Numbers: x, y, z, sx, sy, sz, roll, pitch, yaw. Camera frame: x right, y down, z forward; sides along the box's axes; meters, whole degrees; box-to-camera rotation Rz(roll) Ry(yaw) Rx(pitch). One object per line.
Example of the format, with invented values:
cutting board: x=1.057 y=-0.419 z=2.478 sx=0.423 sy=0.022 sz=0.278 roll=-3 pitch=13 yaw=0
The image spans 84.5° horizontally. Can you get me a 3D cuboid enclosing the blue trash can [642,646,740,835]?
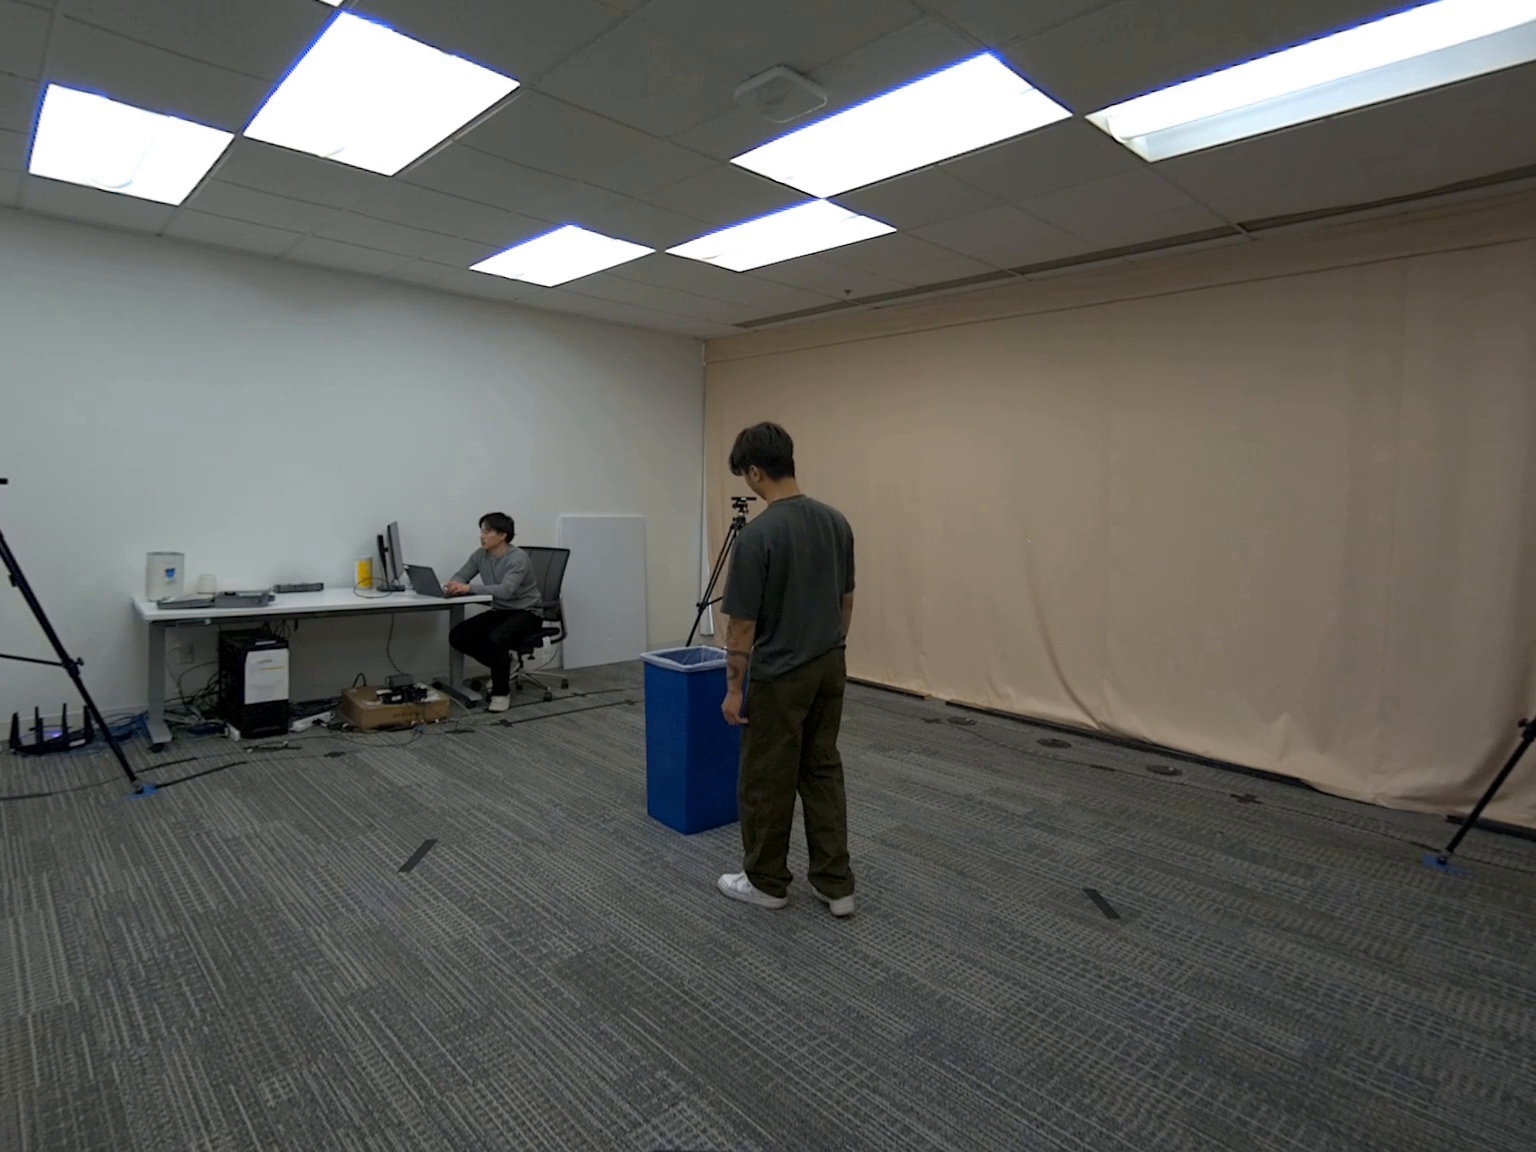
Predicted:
blue trash can: x=-0.327 y=0.696 z=3.649 sx=0.365 sy=0.712 sz=0.387 roll=-1 pitch=4 yaw=-41
